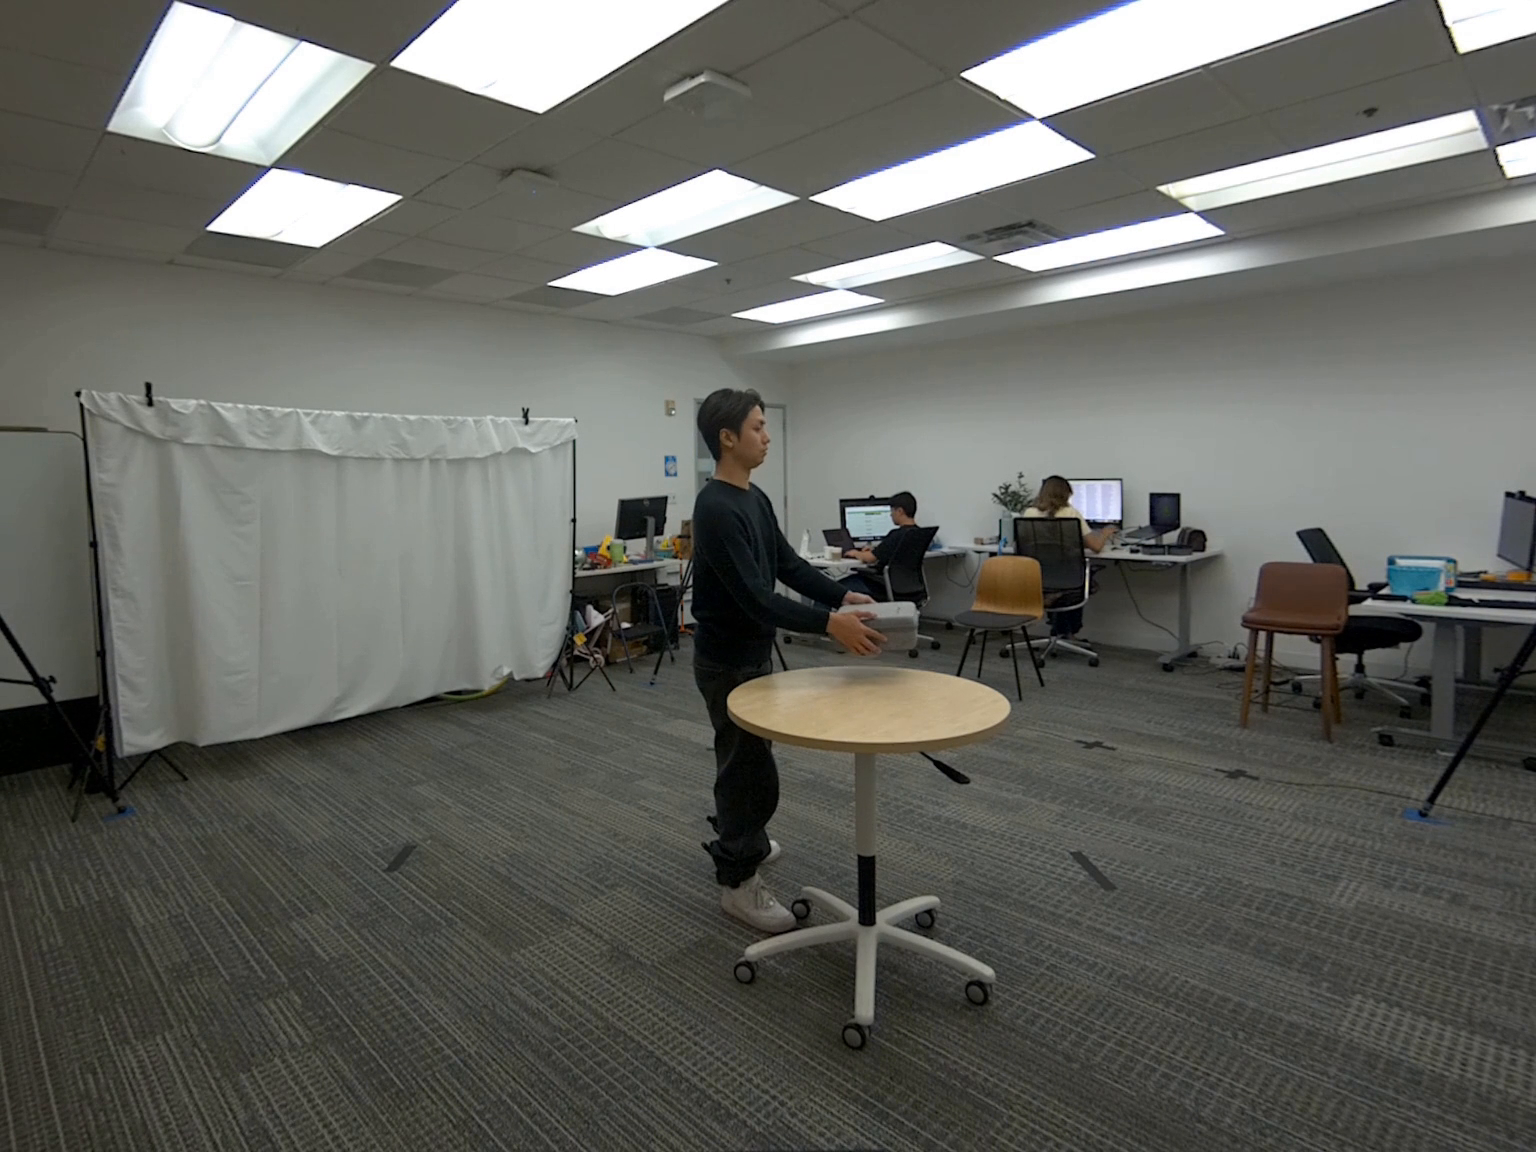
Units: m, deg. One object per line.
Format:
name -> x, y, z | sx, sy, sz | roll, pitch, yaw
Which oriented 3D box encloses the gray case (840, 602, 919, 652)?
gray case -> 0.332, 0.155, 2.657 | 0.264, 0.103, 0.256 | -4, 9, 12
